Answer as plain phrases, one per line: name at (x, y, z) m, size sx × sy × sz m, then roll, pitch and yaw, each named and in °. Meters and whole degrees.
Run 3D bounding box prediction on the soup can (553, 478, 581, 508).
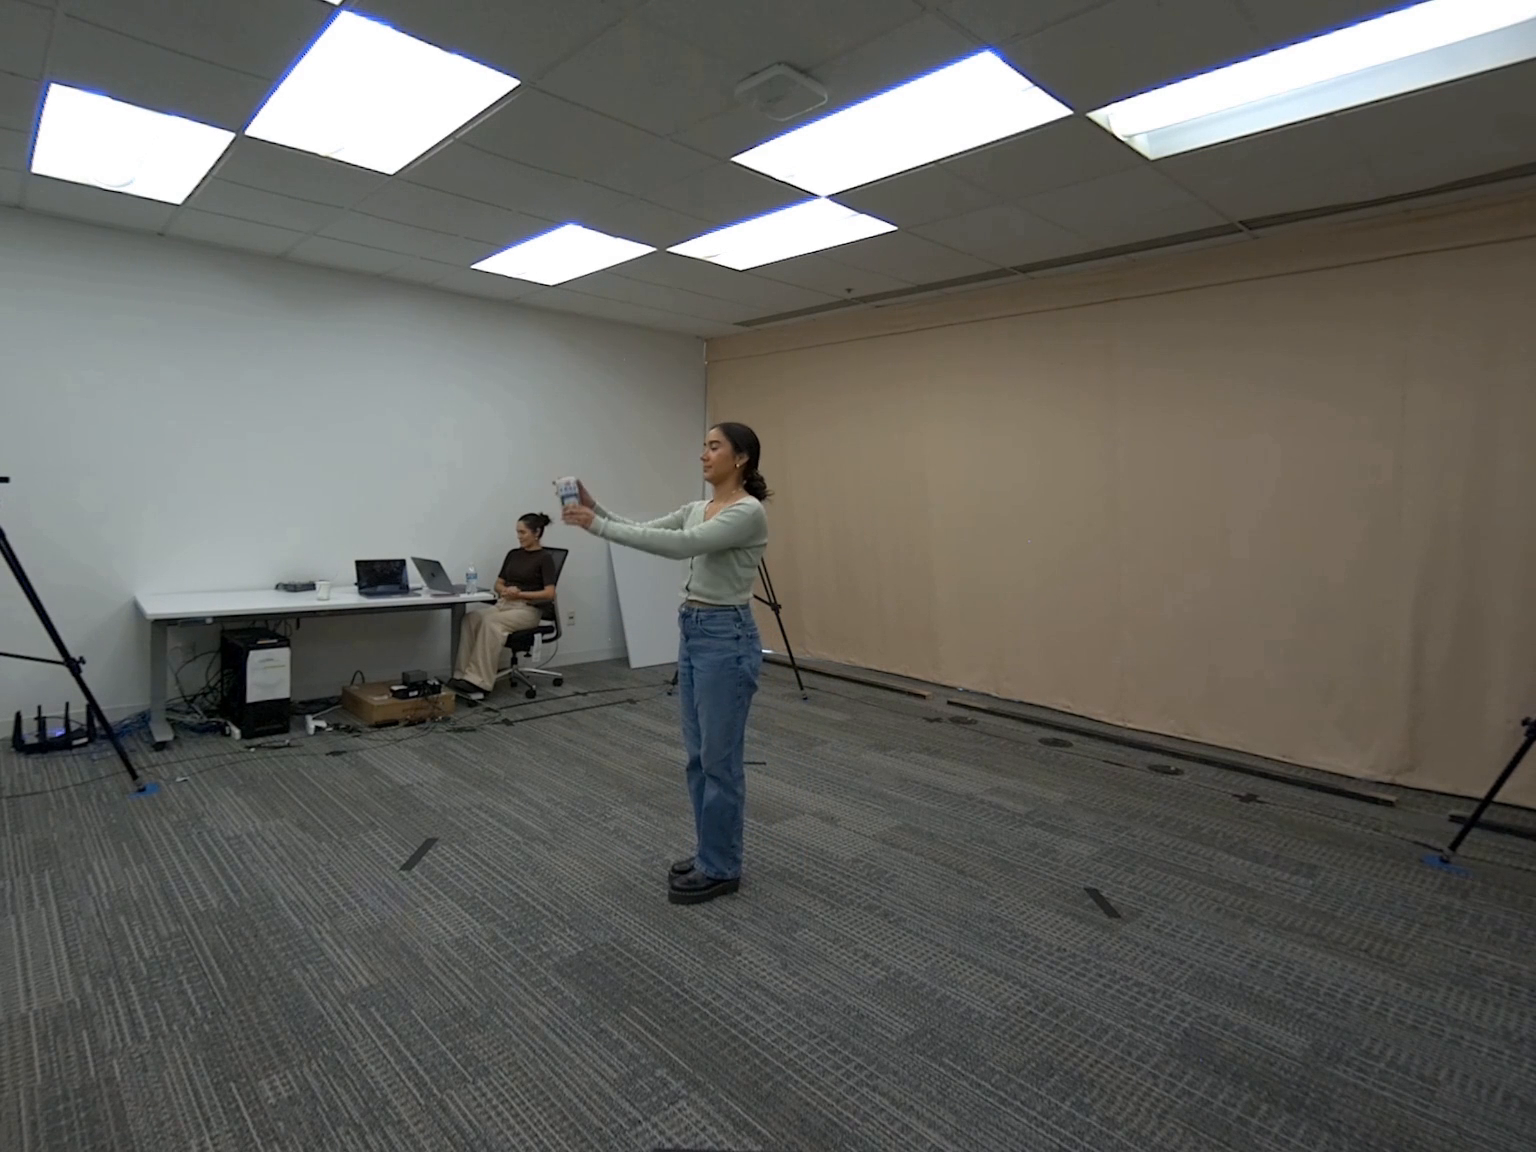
soup can at (-0.625, -0.221, 2.709) m, size 0.067 × 0.121 × 0.067 m, roll -8°, pitch 0°, yaw -1°
